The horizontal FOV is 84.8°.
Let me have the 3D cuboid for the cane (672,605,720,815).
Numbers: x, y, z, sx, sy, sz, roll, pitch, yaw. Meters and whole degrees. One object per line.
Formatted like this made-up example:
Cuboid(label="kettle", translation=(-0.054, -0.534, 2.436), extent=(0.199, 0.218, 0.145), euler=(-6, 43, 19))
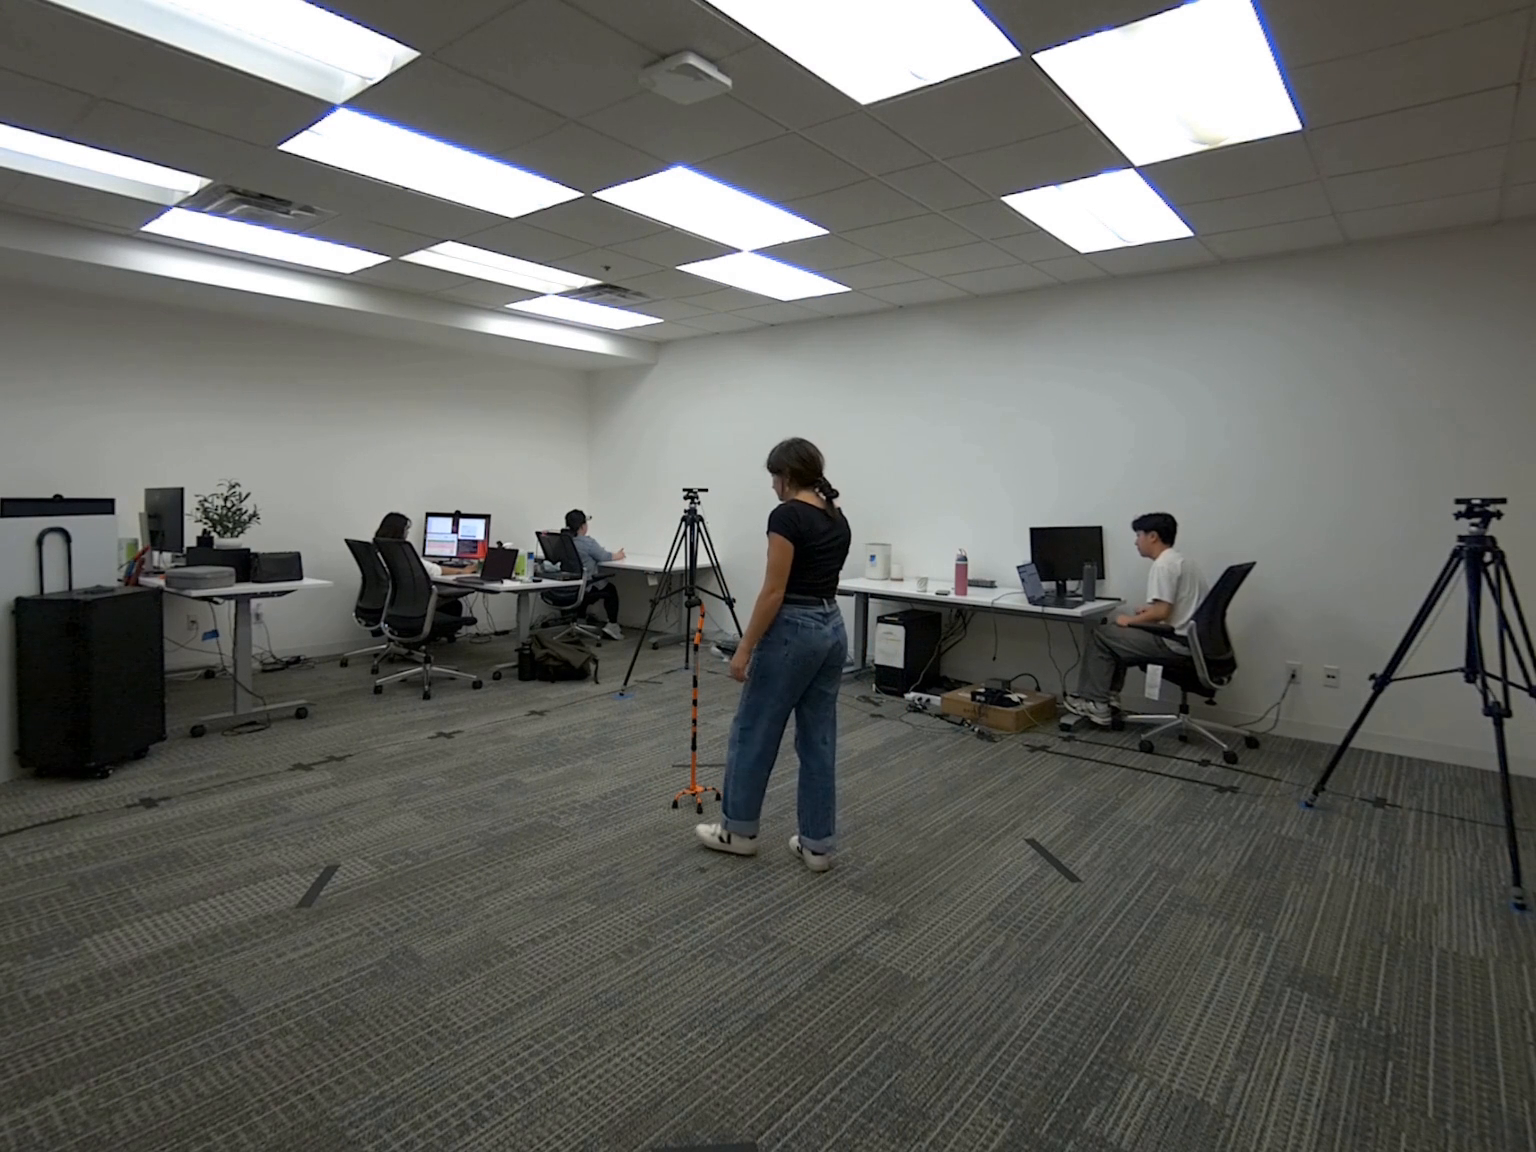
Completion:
Cuboid(label="cane", translation=(-0.311, 0.548, 3.751), extent=(0.155, 0.906, 0.202), euler=(1, 2, 24))
